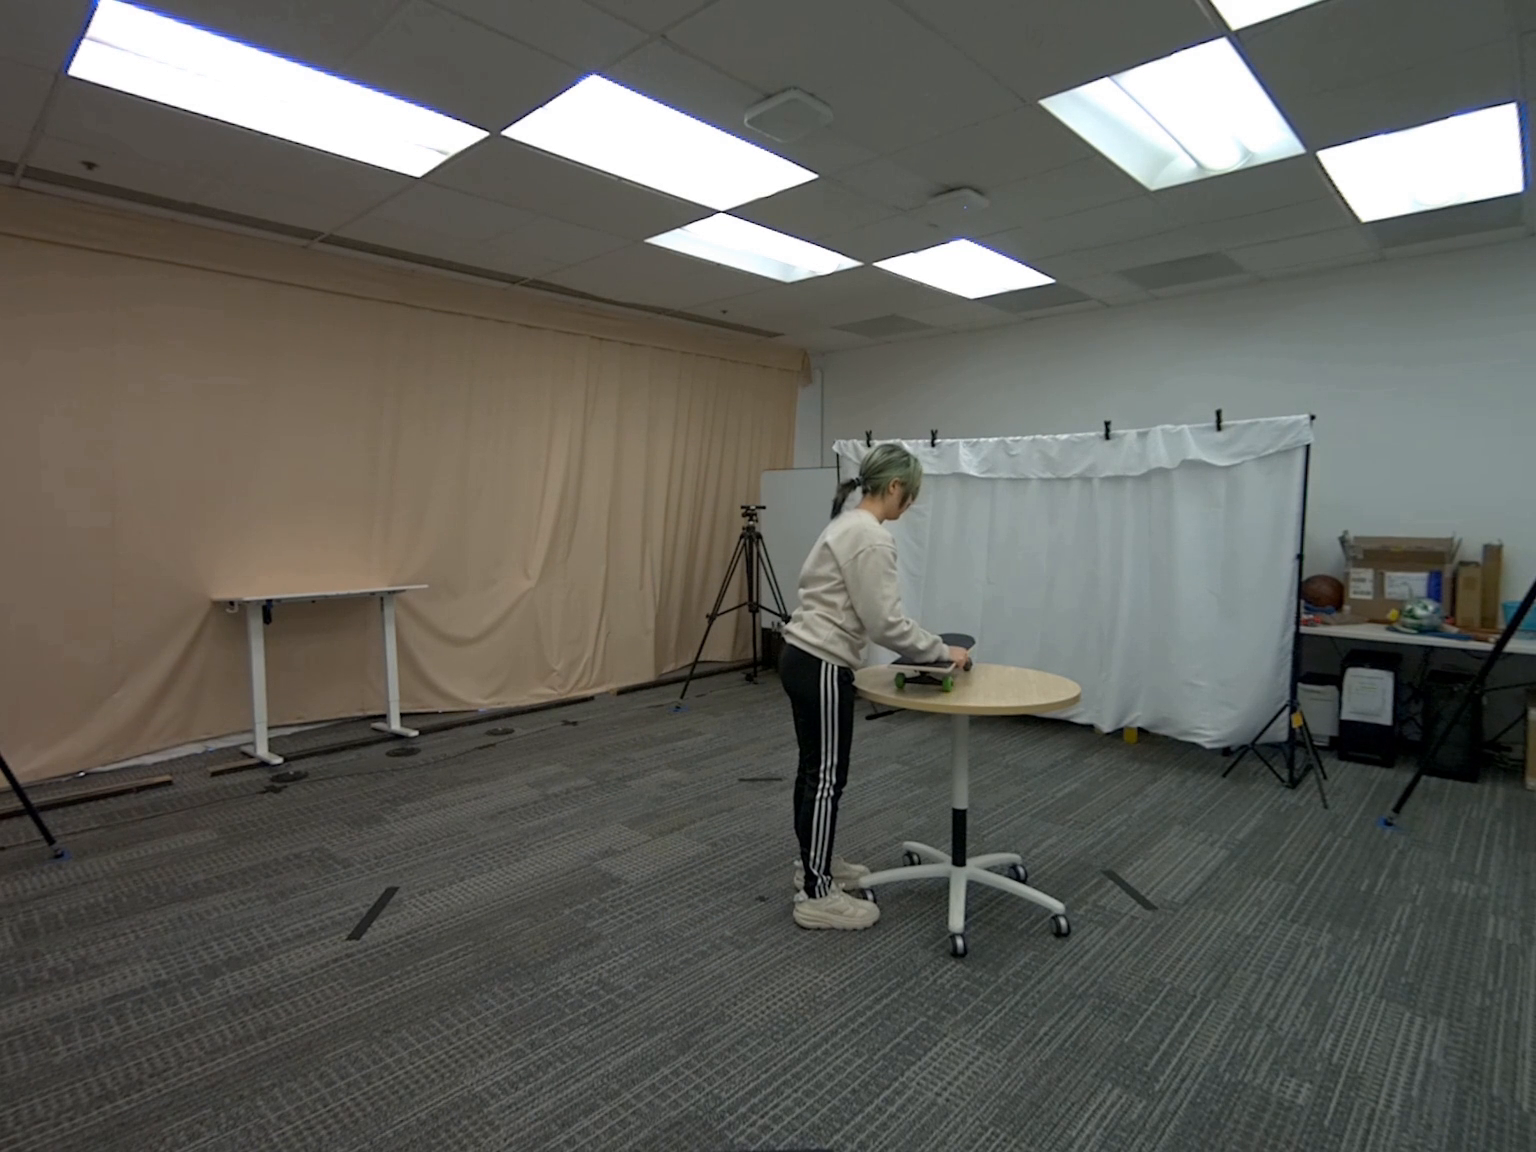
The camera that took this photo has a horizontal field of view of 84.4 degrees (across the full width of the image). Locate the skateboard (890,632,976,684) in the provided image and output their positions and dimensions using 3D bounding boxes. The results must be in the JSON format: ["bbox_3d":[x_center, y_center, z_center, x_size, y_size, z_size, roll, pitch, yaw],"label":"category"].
[{"bbox_3d":[0.594,0.310,2.939,0.198,0.110,0.768,0,4,23],"label":"skateboard"}]
